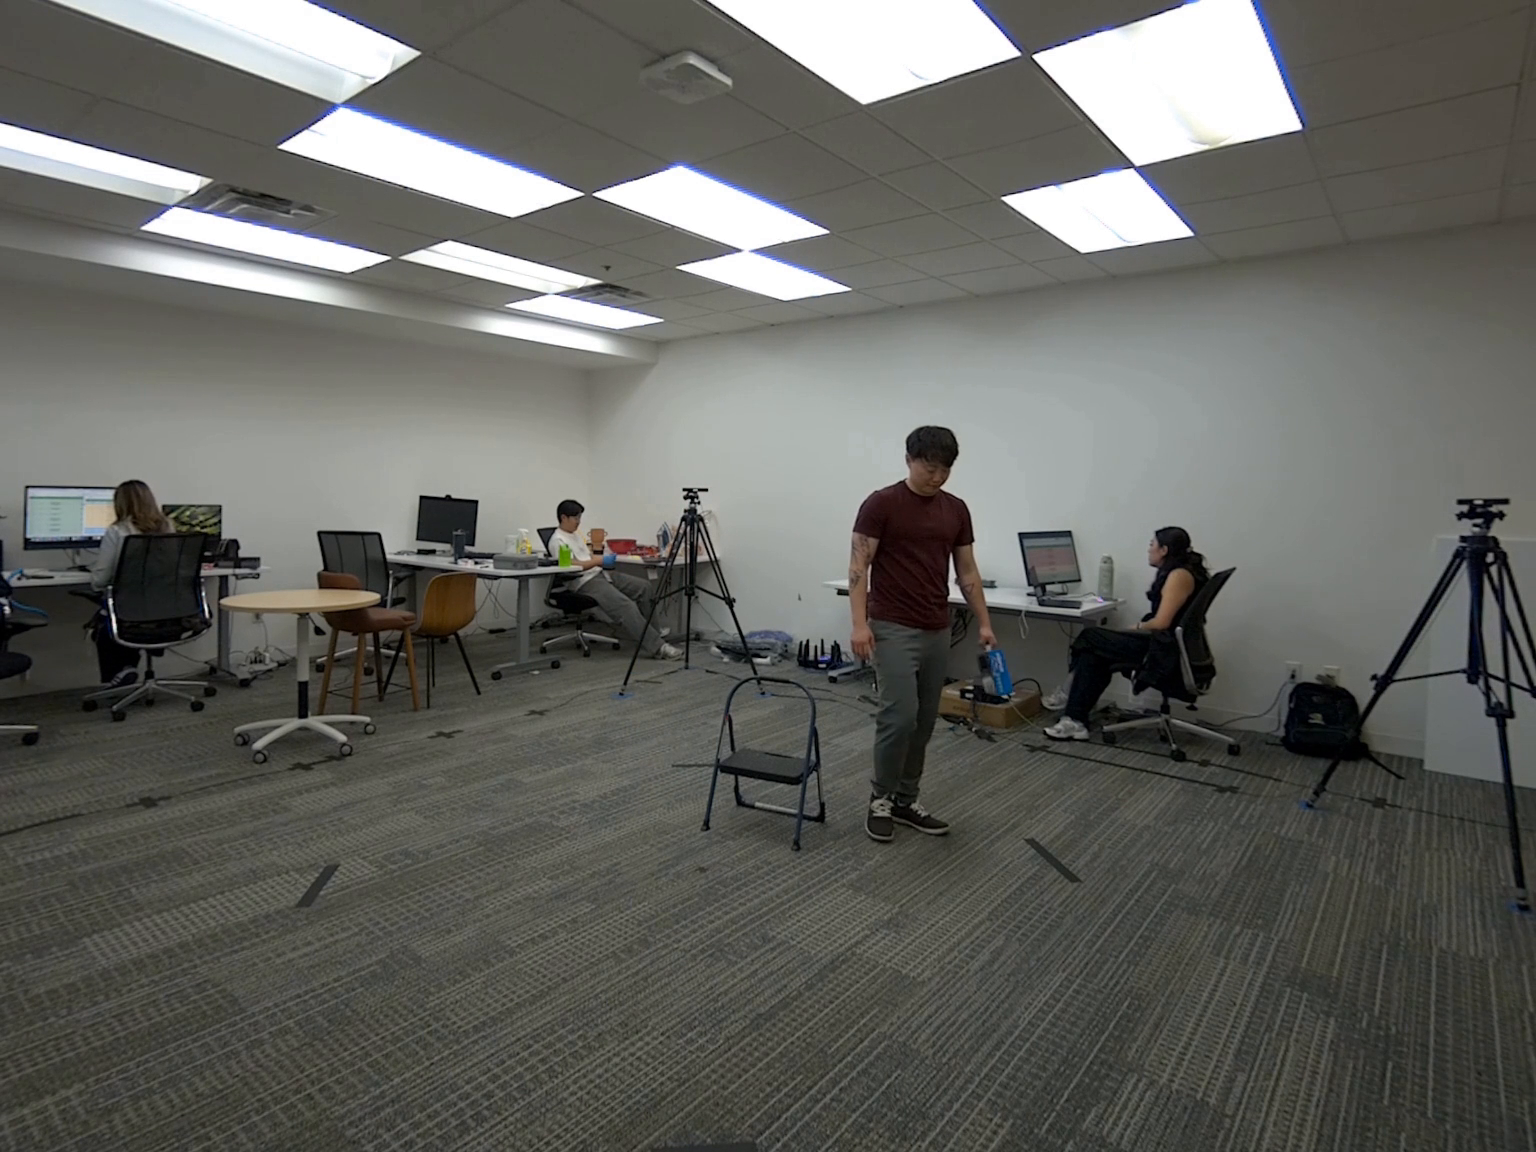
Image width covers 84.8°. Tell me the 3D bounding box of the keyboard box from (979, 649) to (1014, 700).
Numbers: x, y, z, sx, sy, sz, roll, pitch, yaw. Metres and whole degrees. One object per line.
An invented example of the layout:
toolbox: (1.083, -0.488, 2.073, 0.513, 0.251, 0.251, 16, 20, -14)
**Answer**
keyboard box: (0.897, 0.391, 3.480, 0.059, 0.178, 0.430, -12, -8, 4)
